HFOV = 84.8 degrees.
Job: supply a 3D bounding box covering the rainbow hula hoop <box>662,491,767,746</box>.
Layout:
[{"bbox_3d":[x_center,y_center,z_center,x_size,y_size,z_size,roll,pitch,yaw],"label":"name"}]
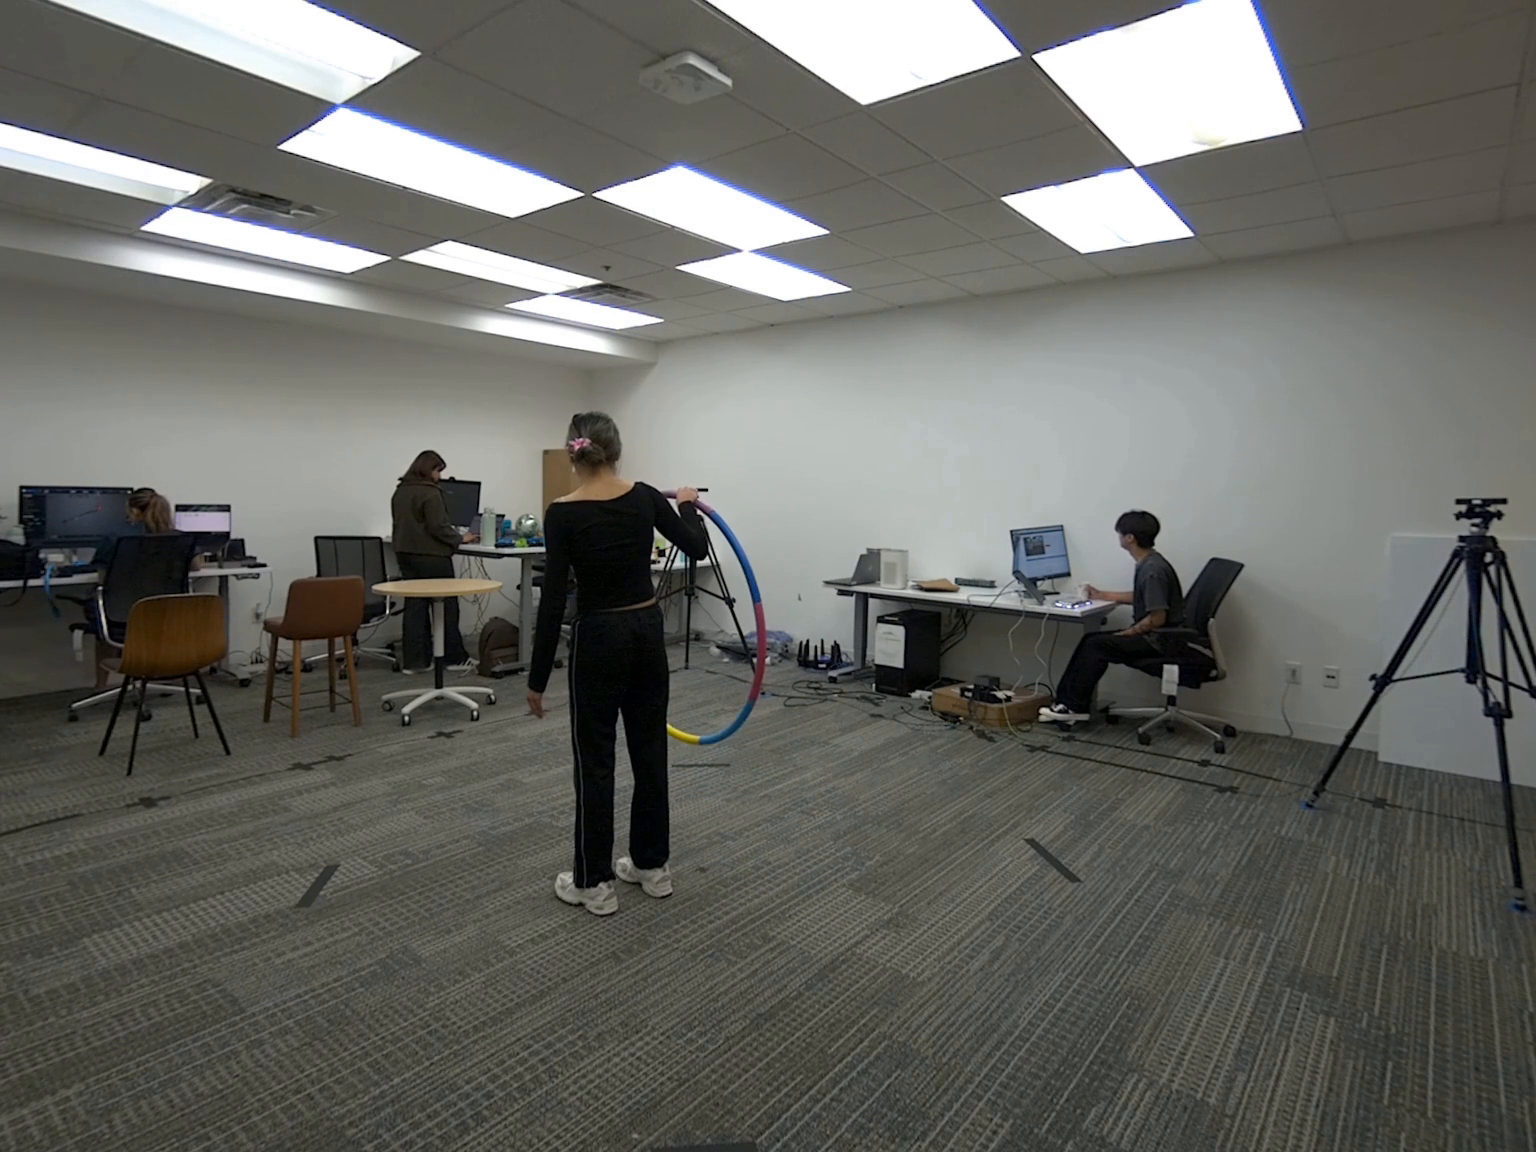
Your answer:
[{"bbox_3d":[-0.368,0.157,3.296,0.034,0.972,1.012,-8,9,-42],"label":"rainbow hula hoop"}]
